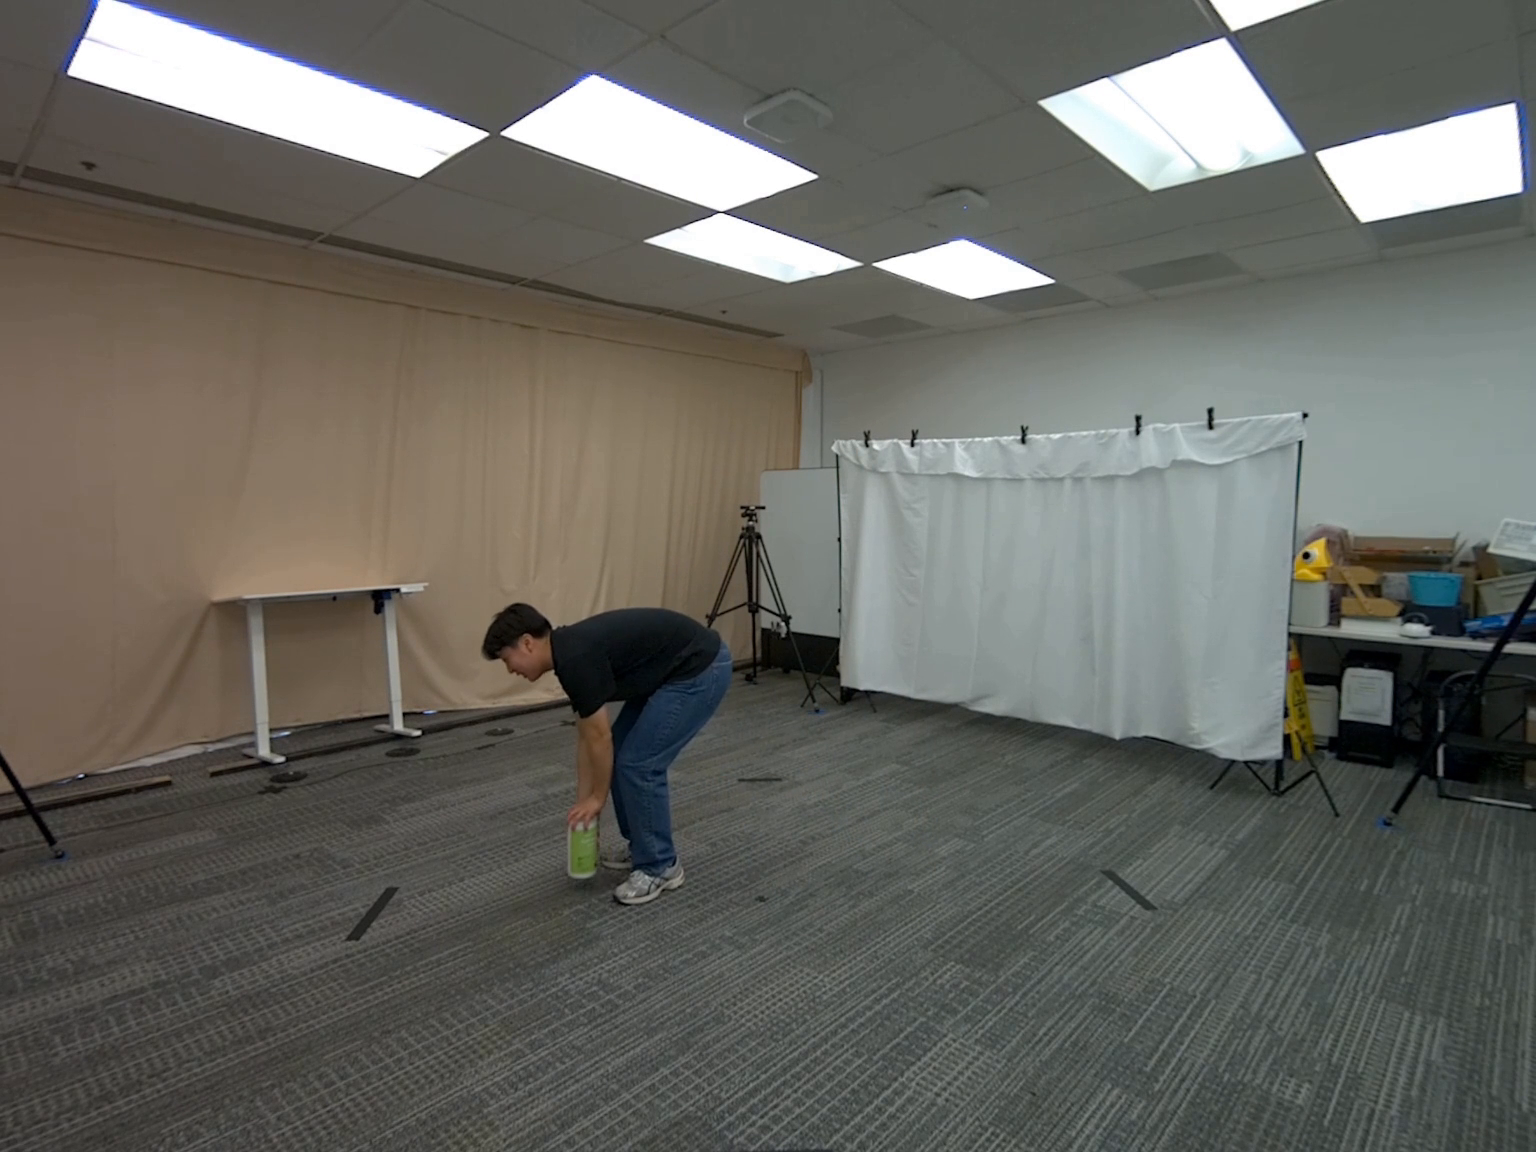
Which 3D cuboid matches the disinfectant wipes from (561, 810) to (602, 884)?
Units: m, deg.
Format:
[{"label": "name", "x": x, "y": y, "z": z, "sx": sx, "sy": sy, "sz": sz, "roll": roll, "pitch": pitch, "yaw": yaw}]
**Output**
[{"label": "disinfectant wipes", "x": -0.673, "y": 0.973, "z": 3.060, "sx": 0.118, "sy": 0.217, "sz": 0.118, "roll": -1, "pitch": 5, "yaw": -2}]
